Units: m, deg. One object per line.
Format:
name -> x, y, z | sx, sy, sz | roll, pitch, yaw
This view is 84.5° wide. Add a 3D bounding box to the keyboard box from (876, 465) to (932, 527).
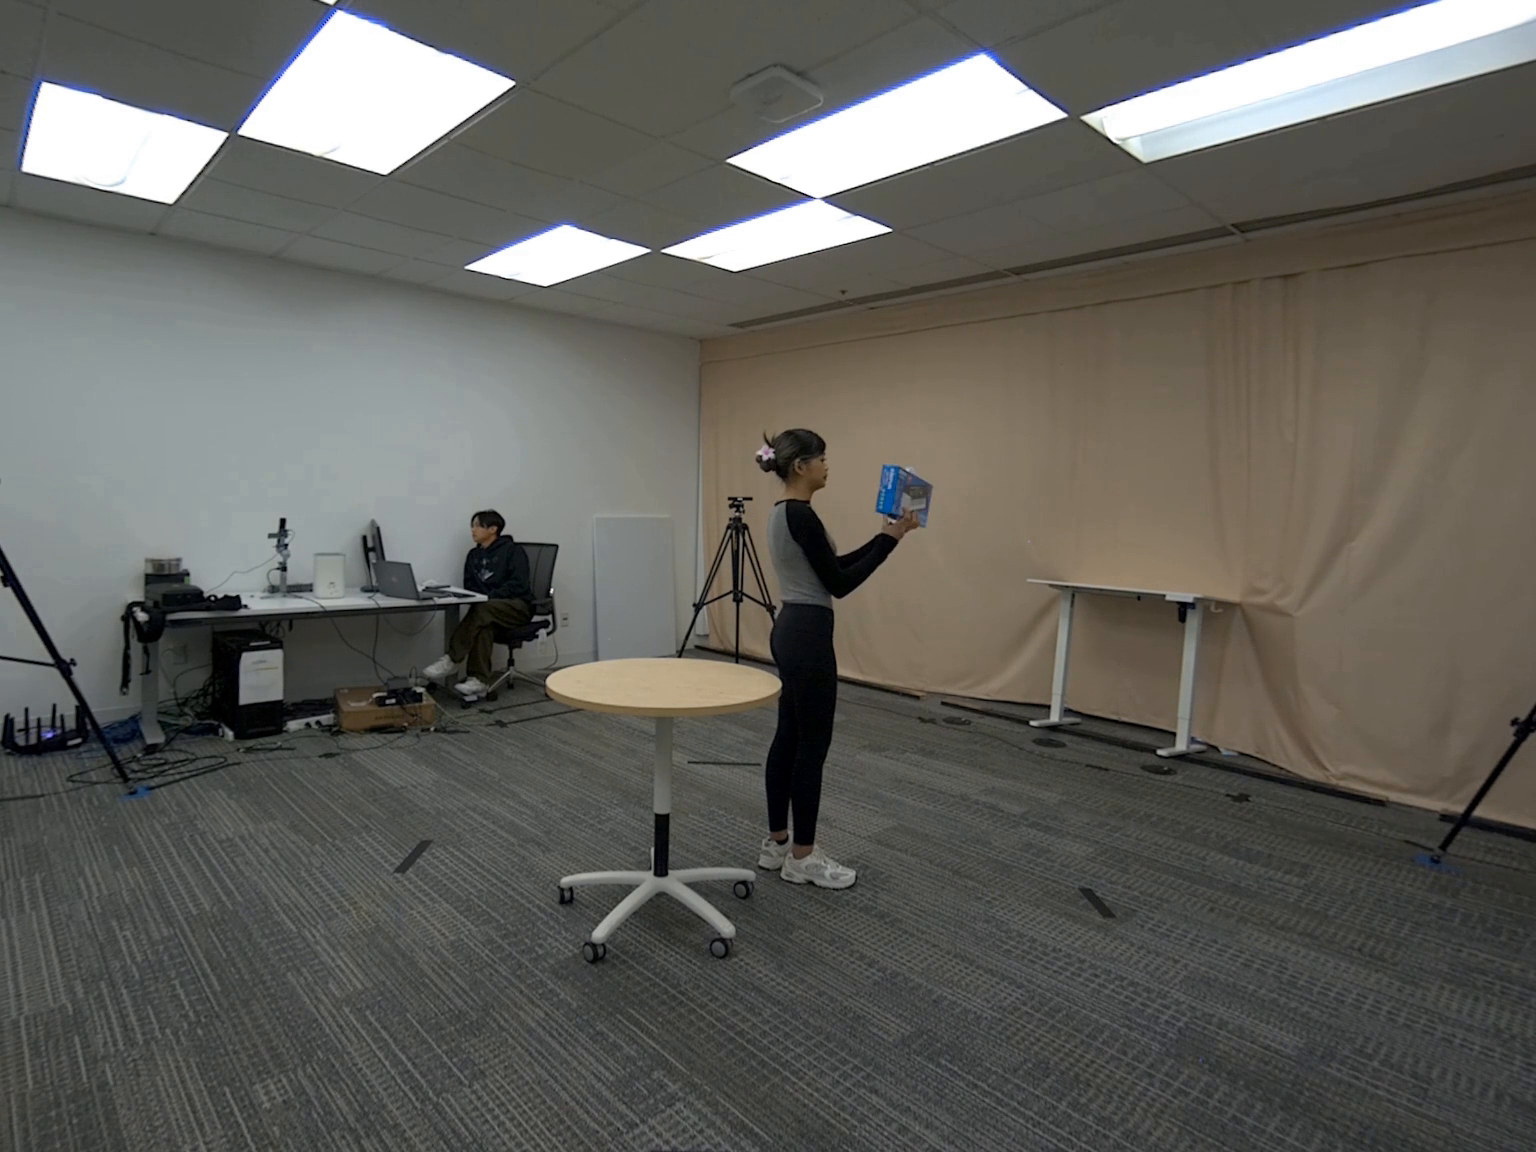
keyboard box -> 0.507, -0.293, 3.143 | 0.060, 0.176, 0.427 | 9, 0, 27
